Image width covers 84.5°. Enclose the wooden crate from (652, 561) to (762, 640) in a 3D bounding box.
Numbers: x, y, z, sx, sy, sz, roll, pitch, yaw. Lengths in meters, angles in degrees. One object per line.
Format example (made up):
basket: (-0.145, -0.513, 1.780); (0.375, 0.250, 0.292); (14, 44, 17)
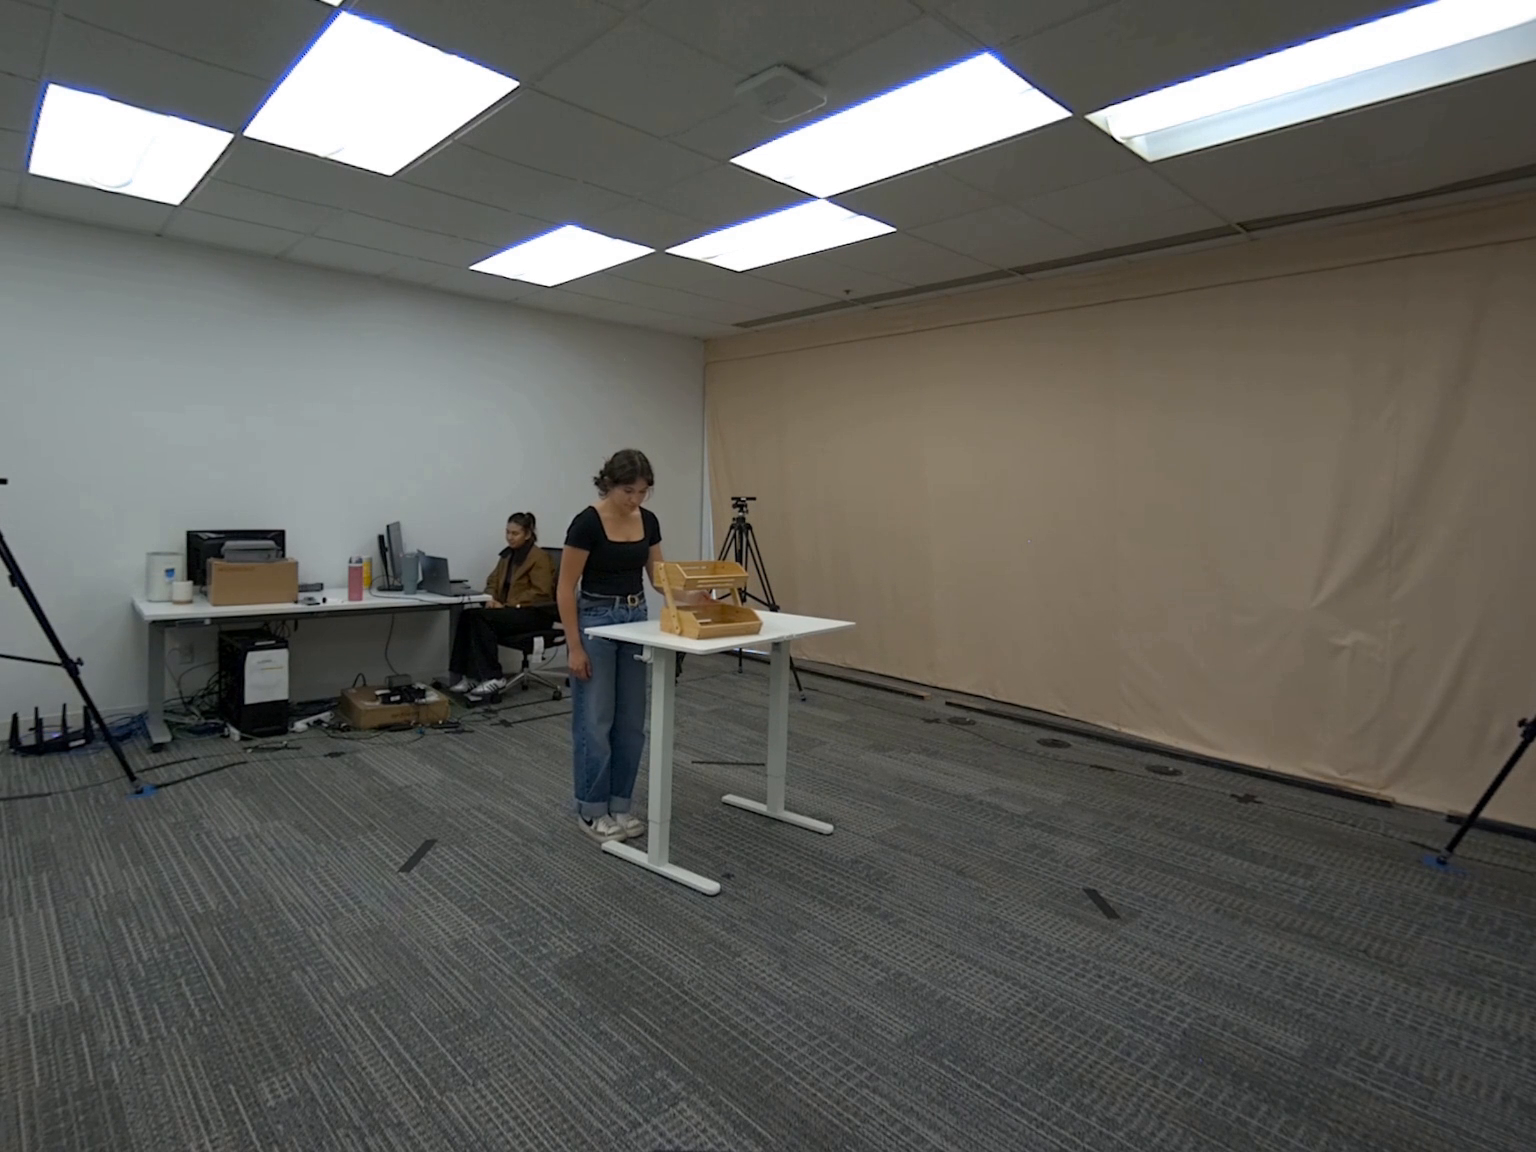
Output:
wooden crate: (-0.235, 0.080, 3.201); (0.317, 0.273, 0.309); (-1, 4, -41)
